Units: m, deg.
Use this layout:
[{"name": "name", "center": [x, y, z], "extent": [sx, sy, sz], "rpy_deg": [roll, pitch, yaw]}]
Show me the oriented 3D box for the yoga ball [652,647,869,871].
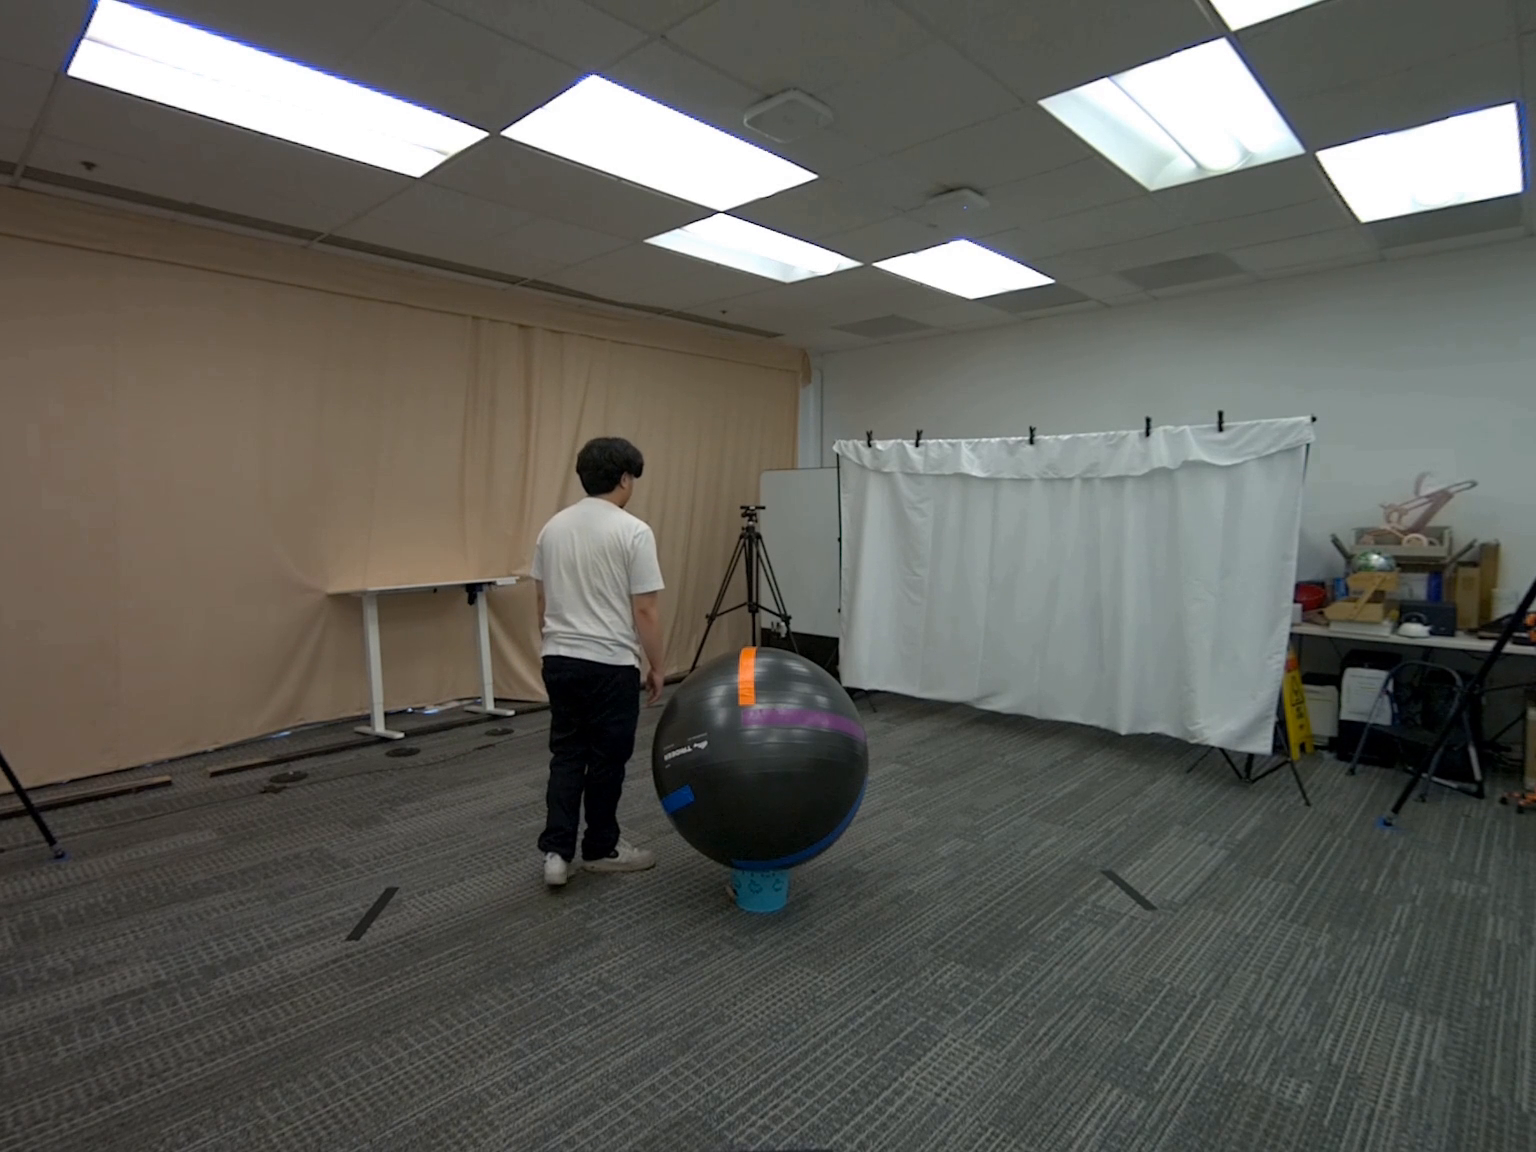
[{"name": "yoga ball", "center": [-0.030, 0.637, 2.950], "extent": [0.757, 0.756, 0.761], "rpy_deg": [0, 4, -2]}]
